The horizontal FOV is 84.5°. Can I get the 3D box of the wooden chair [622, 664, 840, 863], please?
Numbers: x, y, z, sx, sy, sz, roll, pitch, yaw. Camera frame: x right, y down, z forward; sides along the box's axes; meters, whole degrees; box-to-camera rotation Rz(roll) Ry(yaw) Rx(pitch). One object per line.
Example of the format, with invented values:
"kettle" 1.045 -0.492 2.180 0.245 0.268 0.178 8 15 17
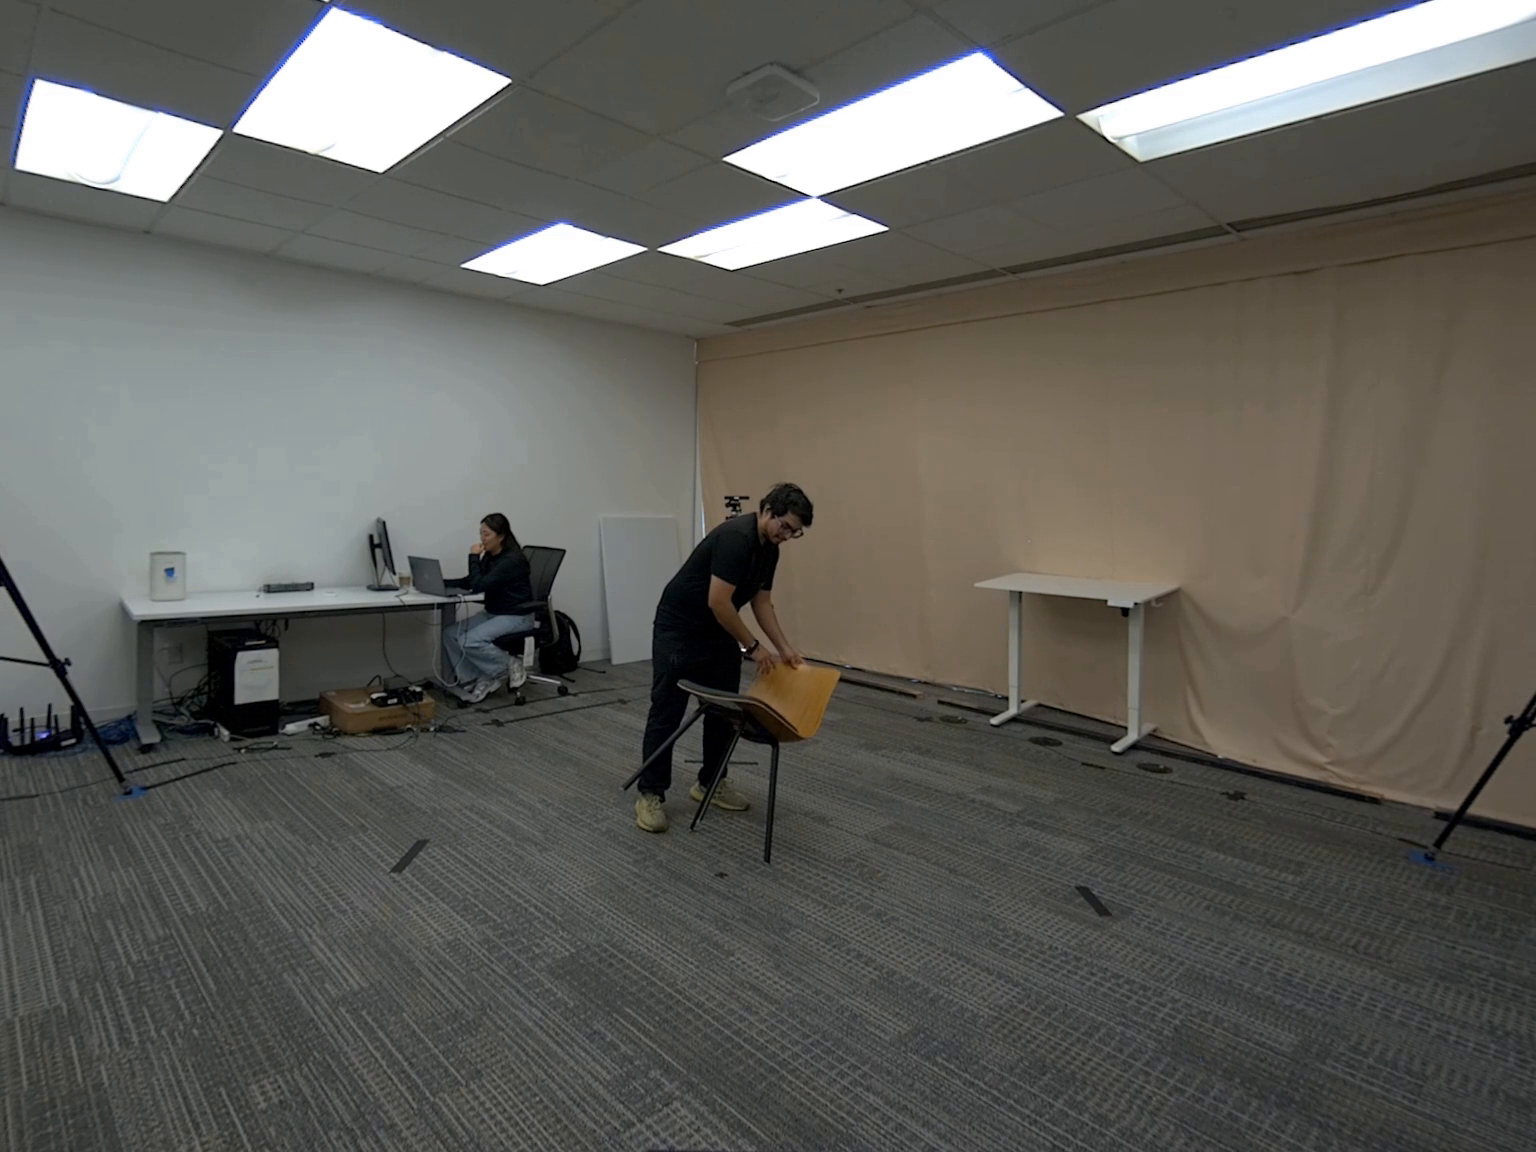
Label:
"wooden chair" -0.111 0.602 3.361 0.490 0.881 0.507 5 -35 45
